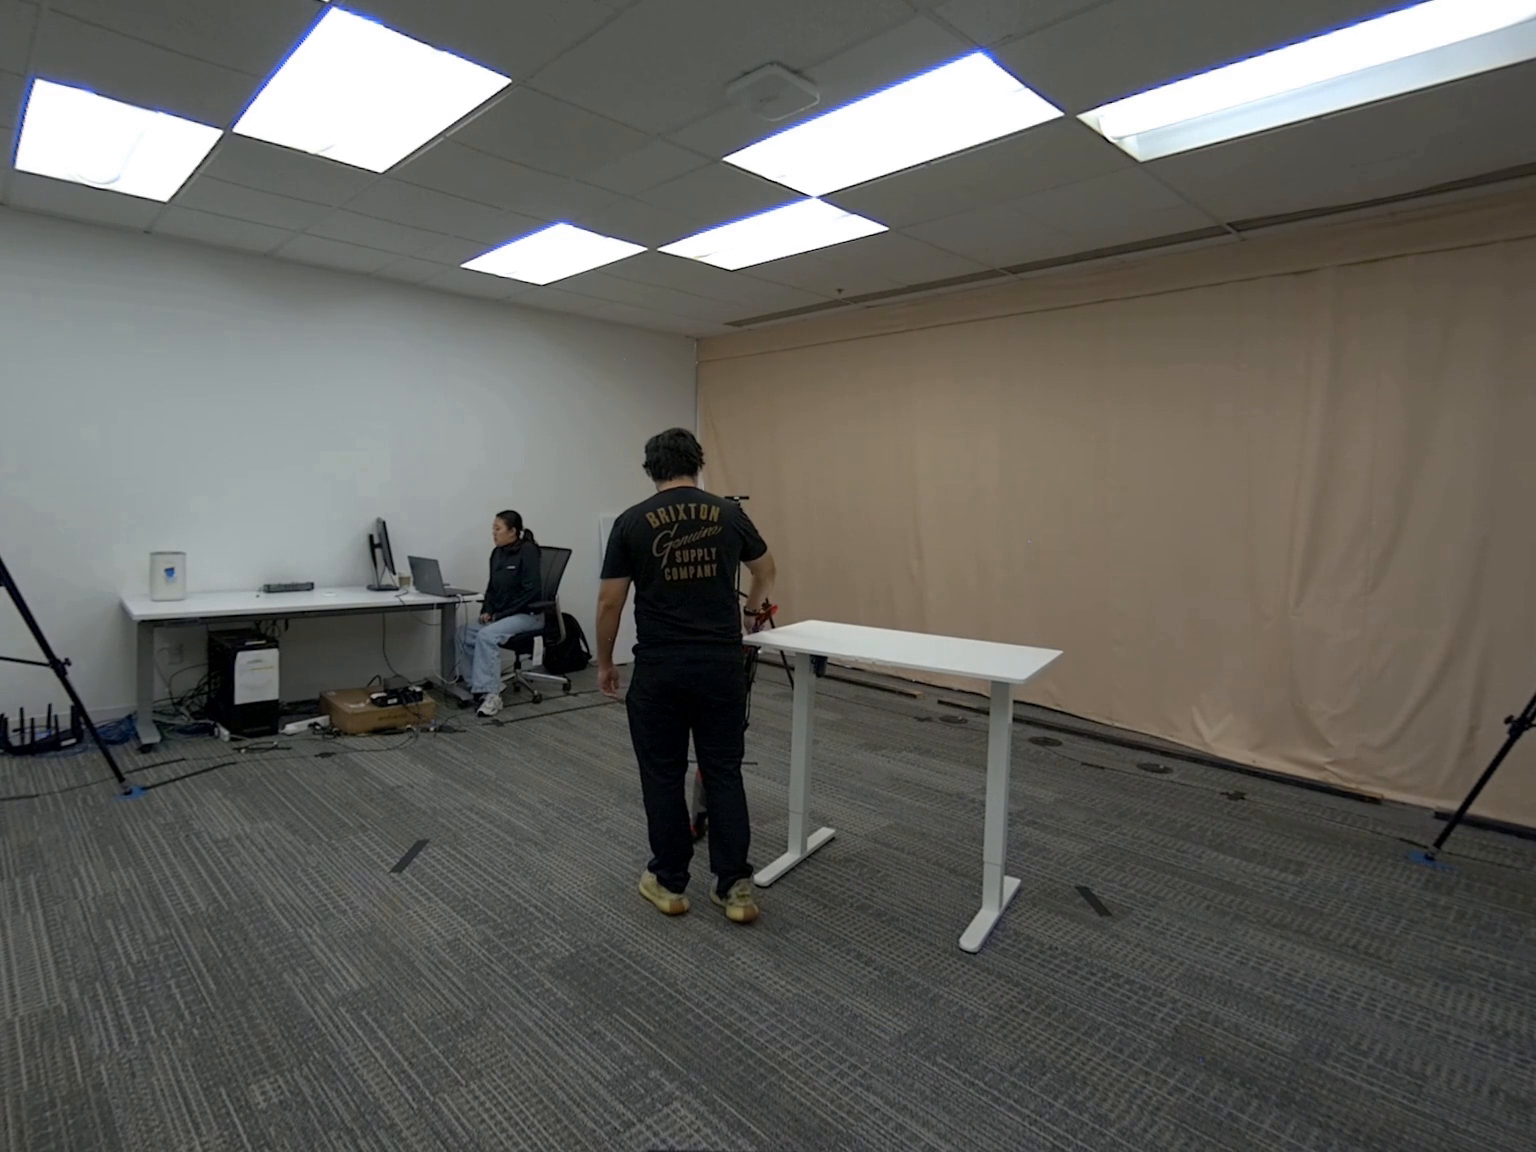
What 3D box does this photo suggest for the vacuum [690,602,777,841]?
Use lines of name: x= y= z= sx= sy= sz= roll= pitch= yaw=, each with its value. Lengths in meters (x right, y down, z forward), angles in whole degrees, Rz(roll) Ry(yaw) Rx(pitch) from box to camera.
vacuum: x=-0.173 y=0.600 z=3.339 sx=0.147 sy=1.043 sz=0.248 roll=26 pitch=14 yaw=24
